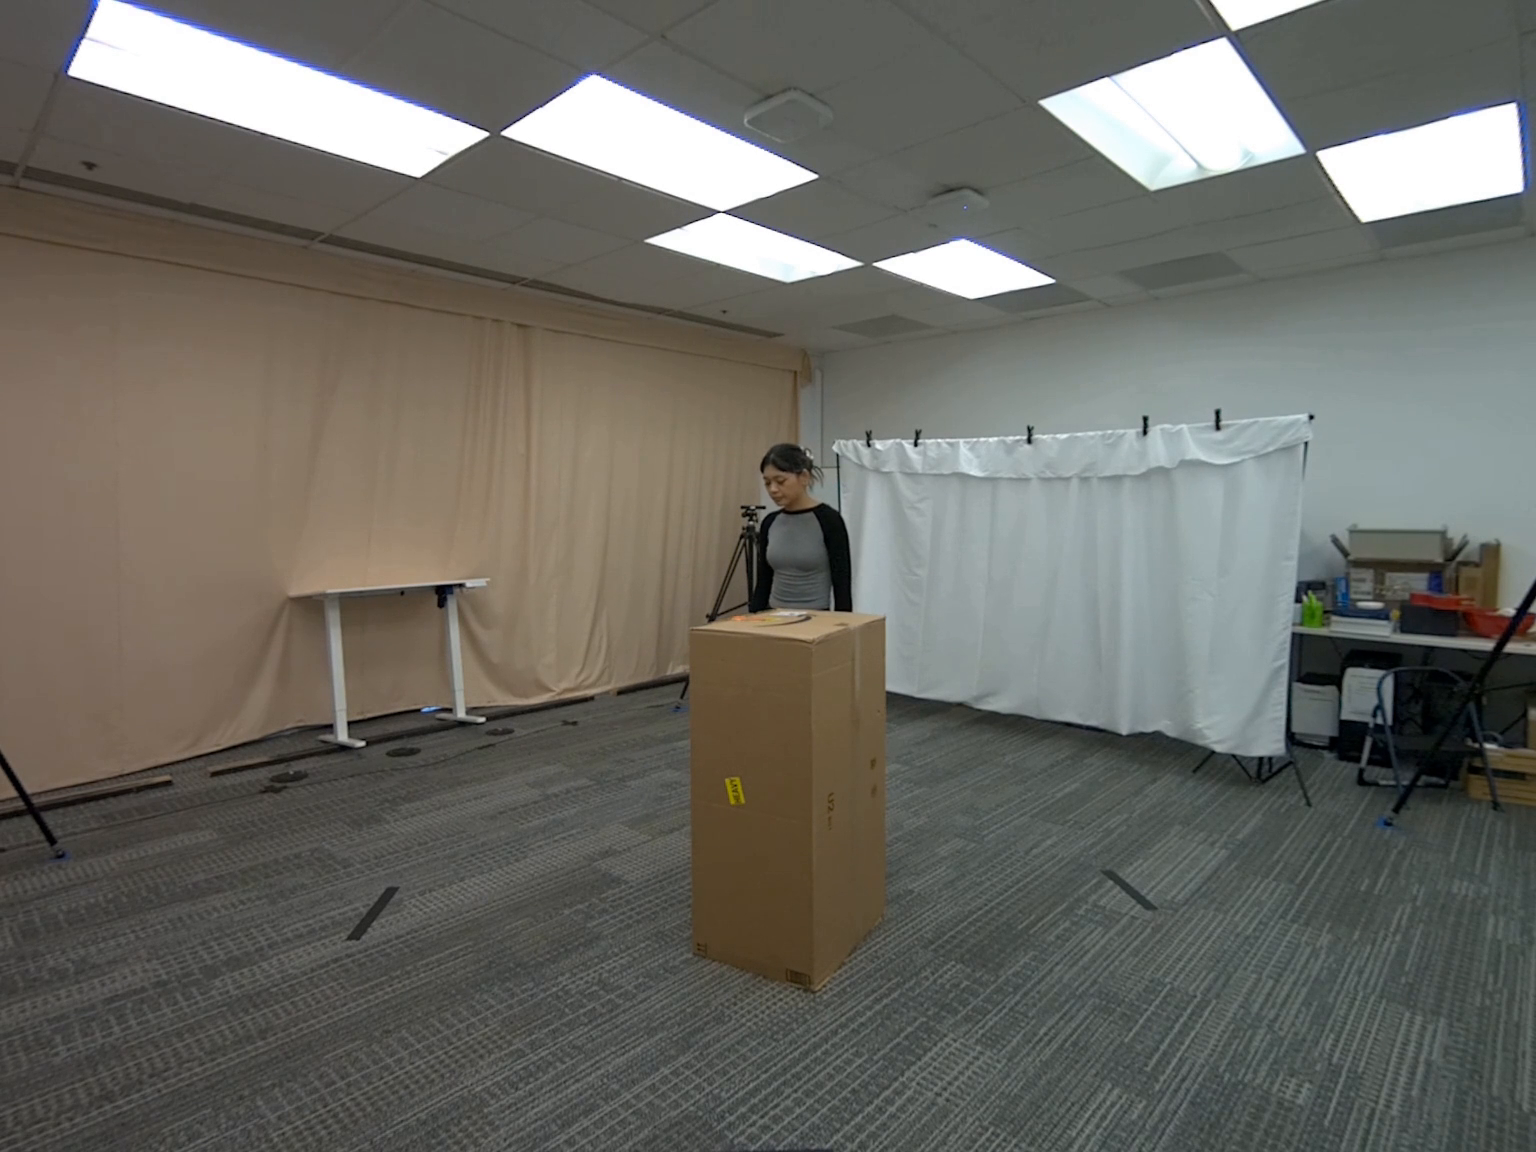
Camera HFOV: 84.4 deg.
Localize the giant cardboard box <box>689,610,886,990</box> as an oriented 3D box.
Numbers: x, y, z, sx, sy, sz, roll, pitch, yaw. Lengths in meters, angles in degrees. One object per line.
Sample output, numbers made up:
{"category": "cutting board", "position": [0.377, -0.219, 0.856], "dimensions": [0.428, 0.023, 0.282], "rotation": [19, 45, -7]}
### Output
{"category": "giant cardboard box", "position": [0.081, 0.656, 2.726], "dimensions": [0.439, 1.024, 0.562], "rotation": [1, 3, 31]}
